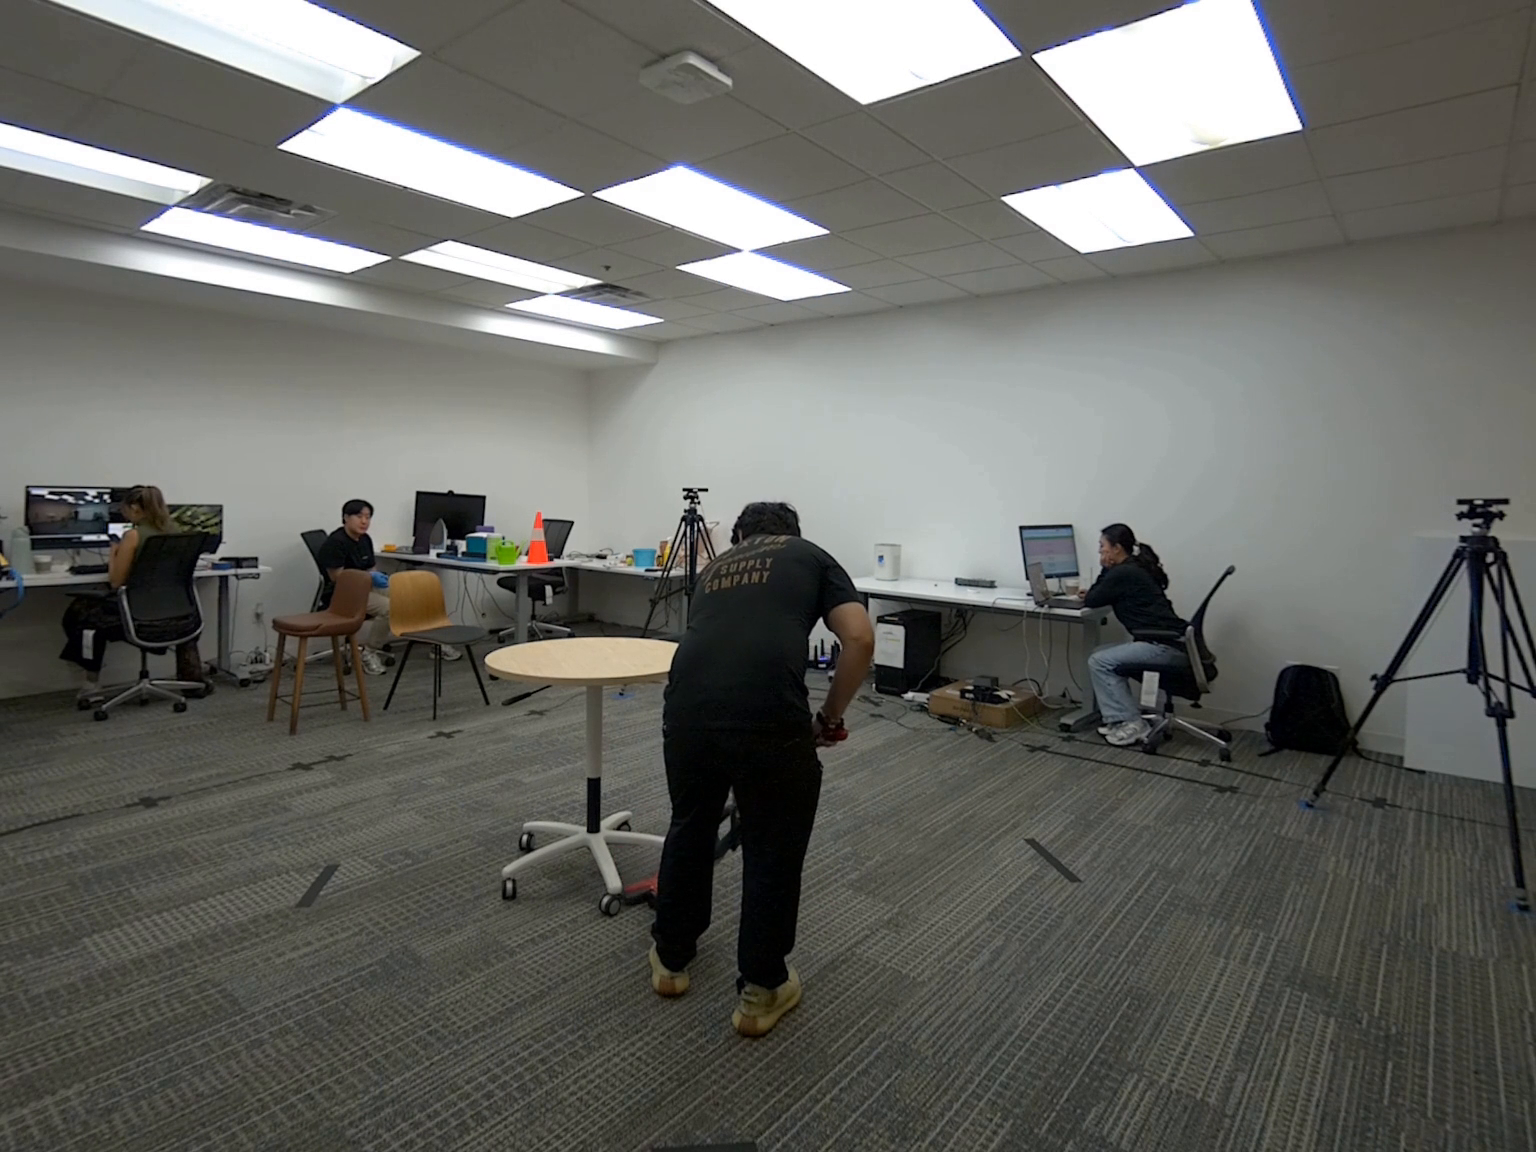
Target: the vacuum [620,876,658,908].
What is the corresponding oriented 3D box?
[{"bbox_3d":[-0.102,0.733,2.586,0.245,0.149,1.048,-1,-37,-45],"label":"vacuum"}]
